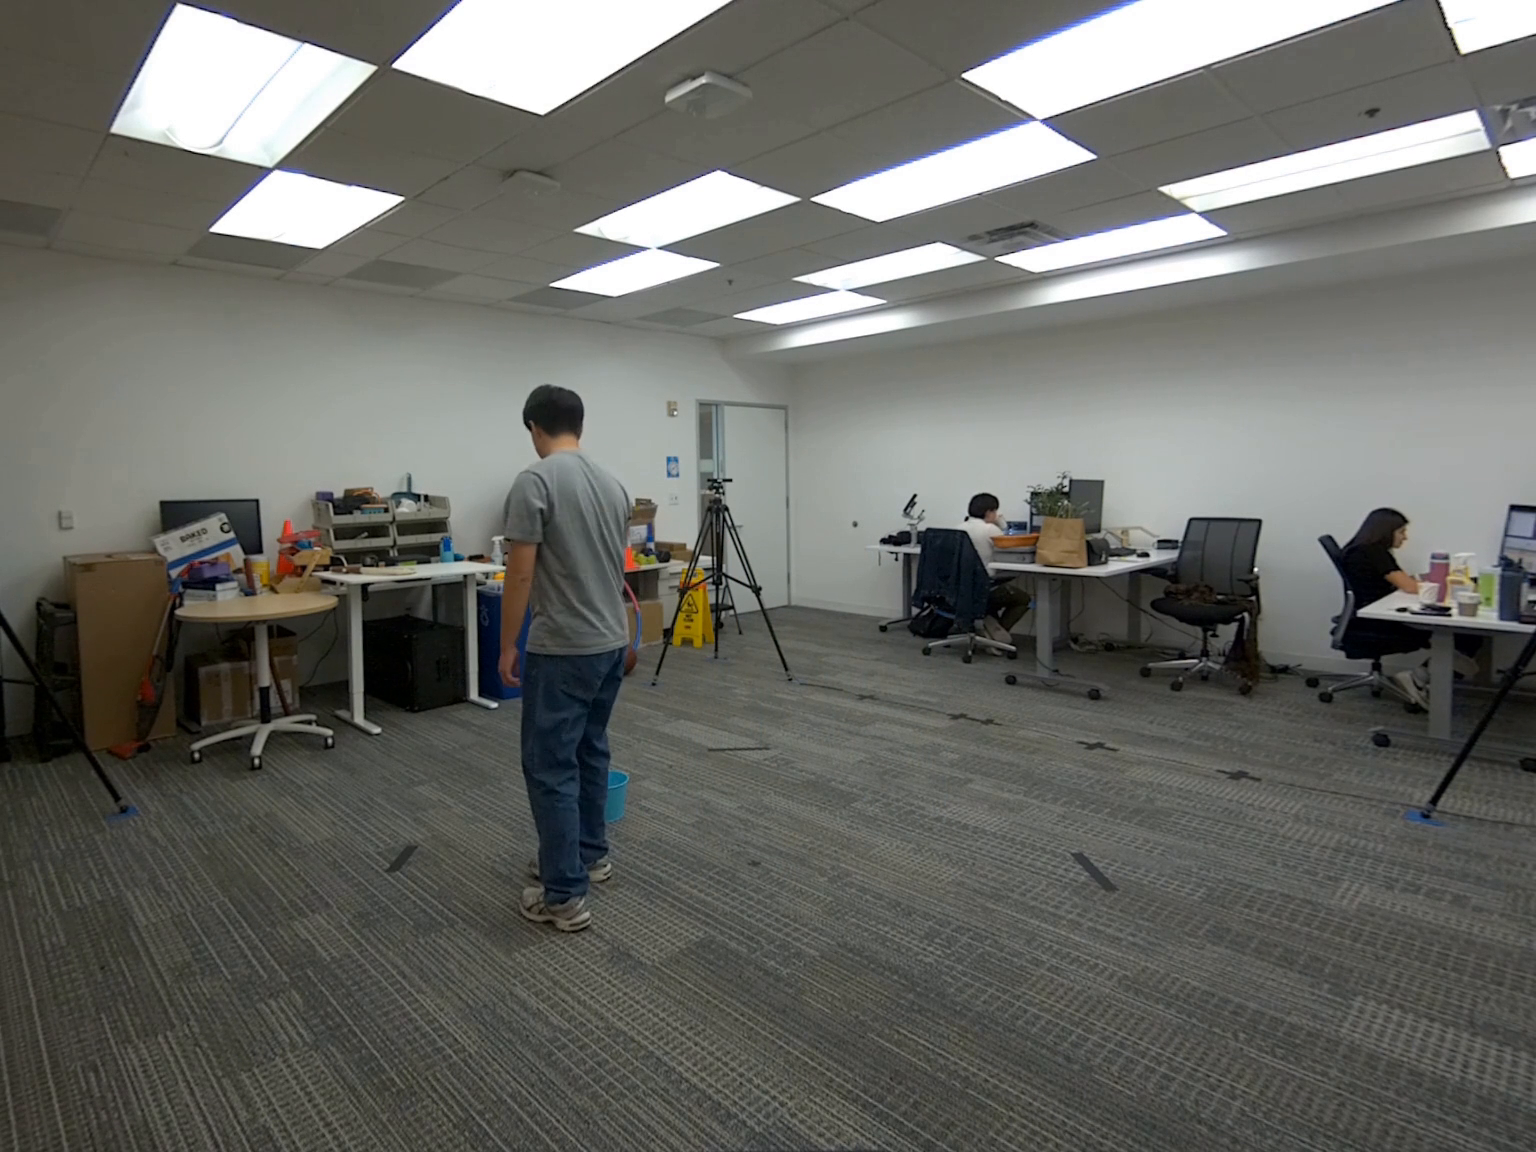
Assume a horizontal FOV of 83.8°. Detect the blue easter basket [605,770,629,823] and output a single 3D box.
[{"bbox_3d":[-0.691,0.924,3.594,0.243,0.155,0.245,0,5,-2],"label":"blue easter basket"}]
